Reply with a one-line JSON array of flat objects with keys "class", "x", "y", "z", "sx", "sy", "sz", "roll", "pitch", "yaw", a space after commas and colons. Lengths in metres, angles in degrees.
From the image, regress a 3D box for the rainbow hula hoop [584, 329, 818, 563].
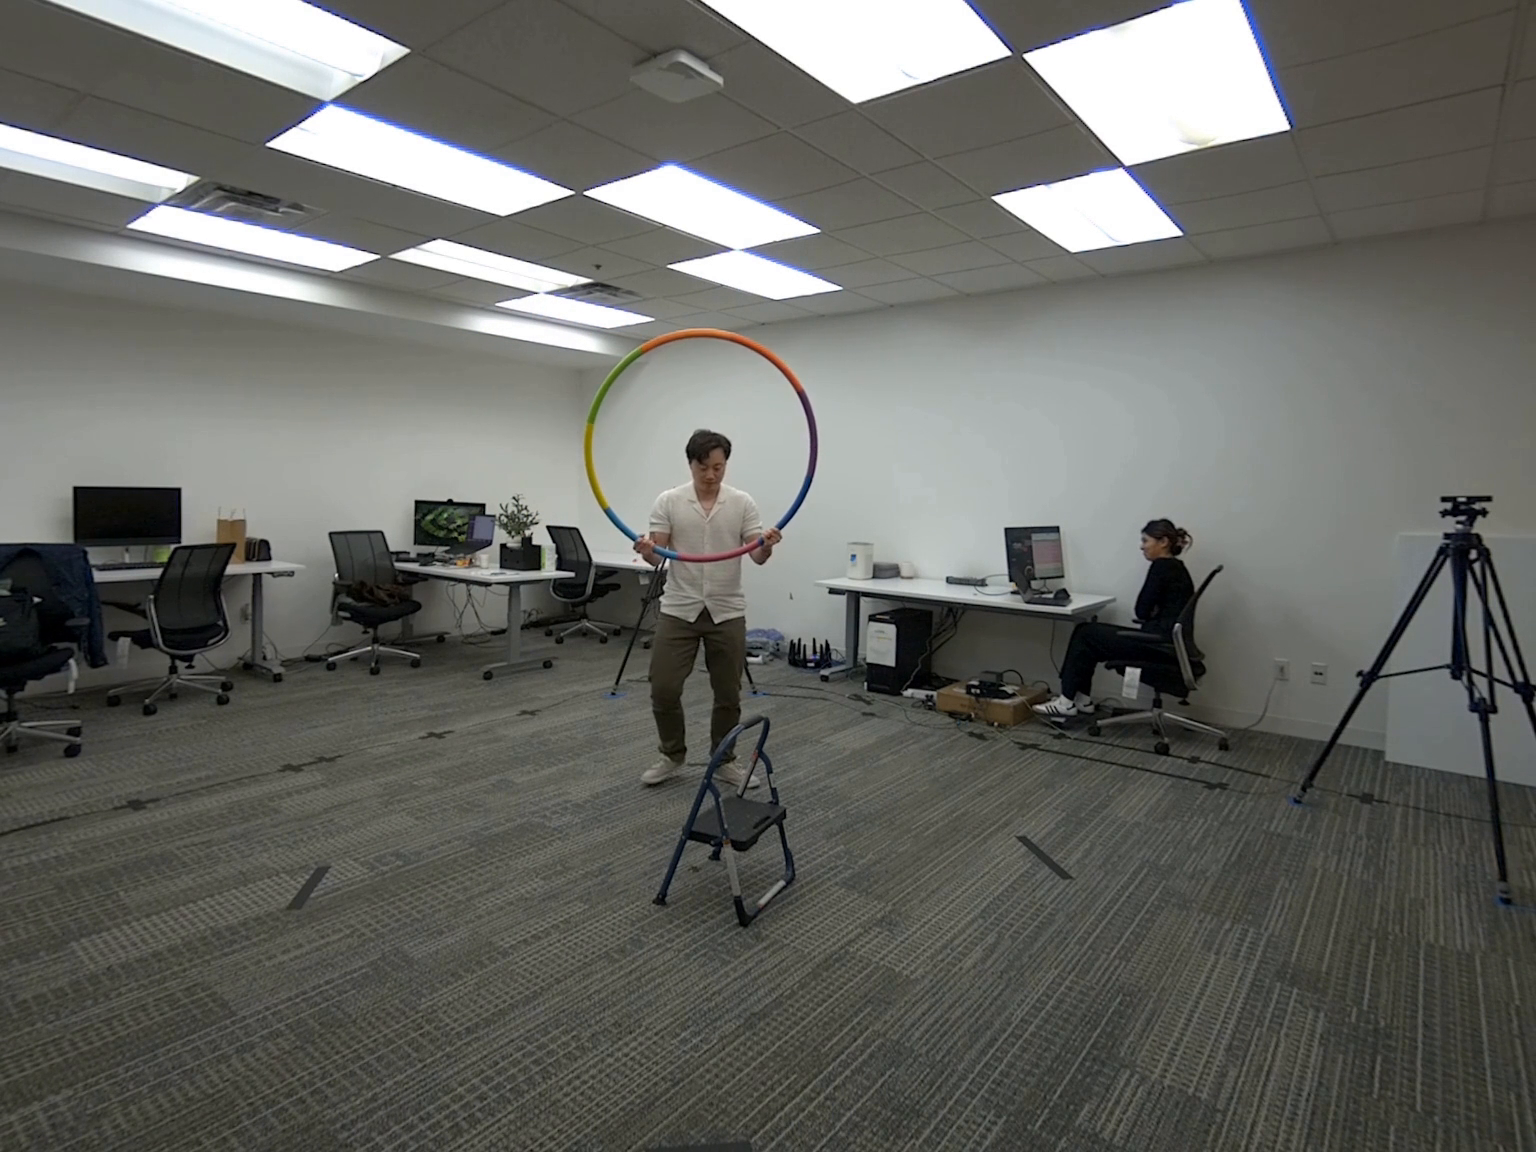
[{"class": "rainbow hula hoop", "x": -0.290, "y": -0.532, "z": 3.590, "sx": 0.974, "sy": 0.966, "sz": 0.036, "roll": 1, "pitch": 13, "yaw": -4}]
